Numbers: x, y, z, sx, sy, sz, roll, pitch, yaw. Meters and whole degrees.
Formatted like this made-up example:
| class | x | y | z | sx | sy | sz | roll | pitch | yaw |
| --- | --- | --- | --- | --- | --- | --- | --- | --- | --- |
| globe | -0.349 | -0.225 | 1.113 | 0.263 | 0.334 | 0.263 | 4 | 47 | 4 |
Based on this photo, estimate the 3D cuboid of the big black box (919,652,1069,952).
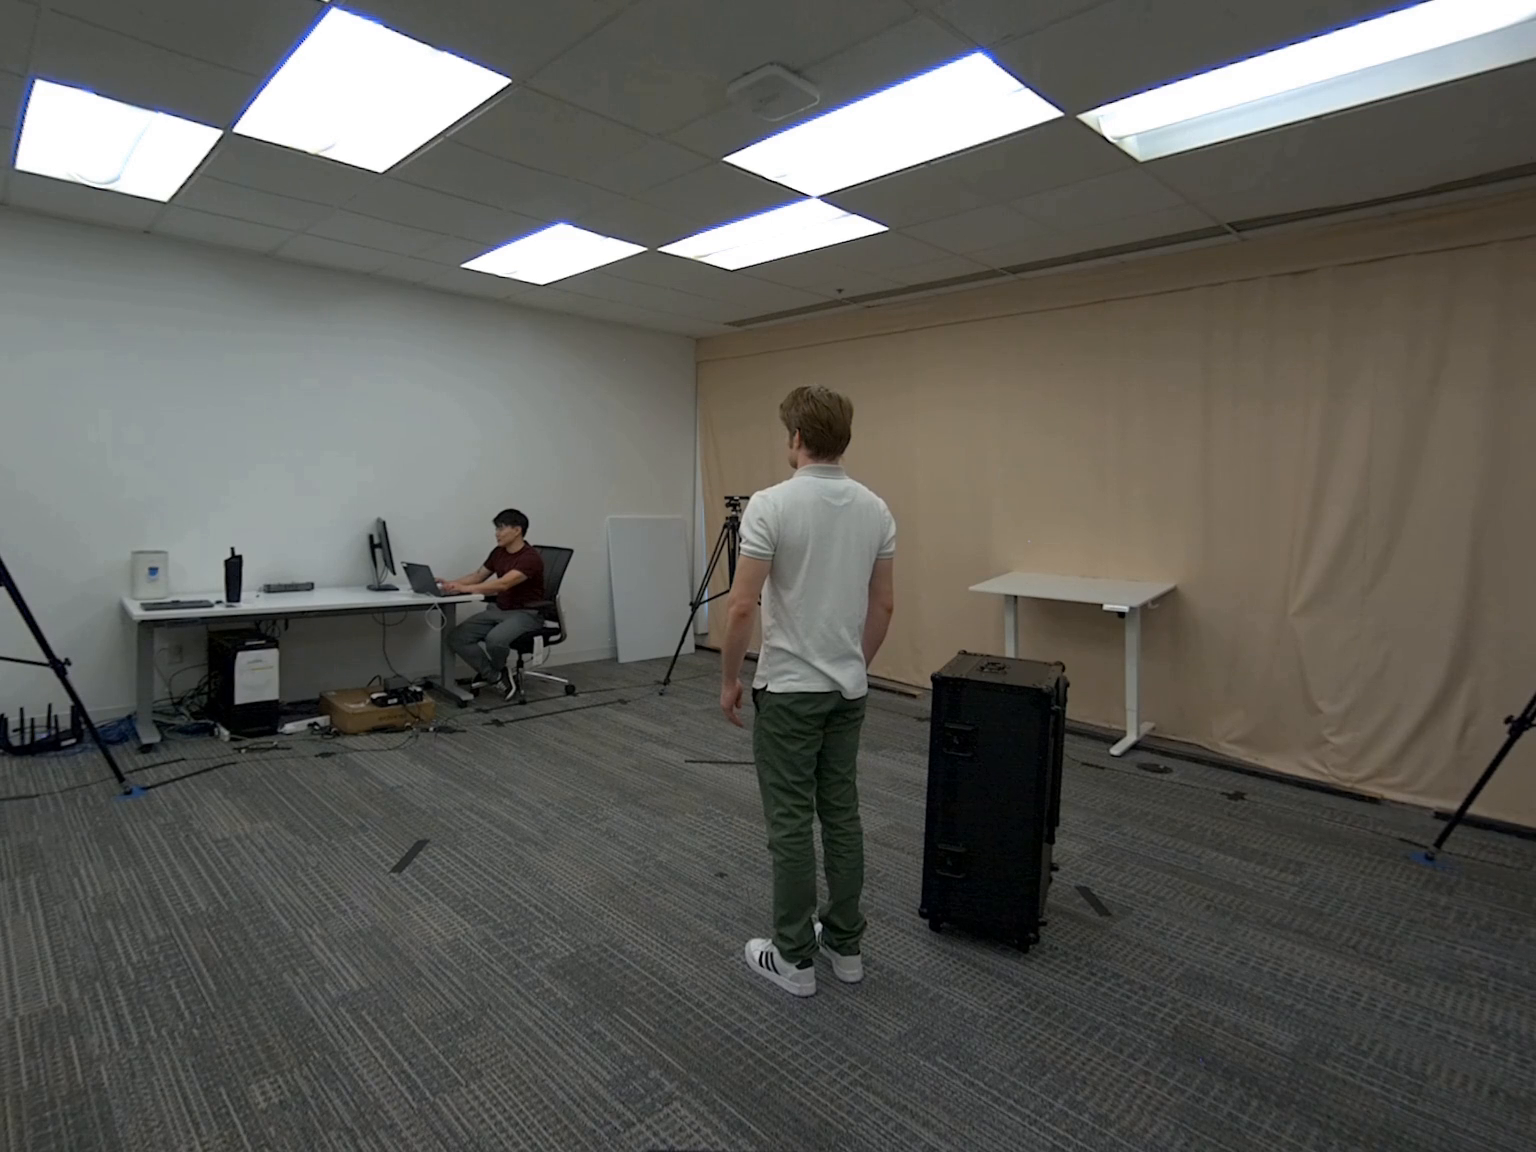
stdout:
| class | x | y | z | sx | sy | sz | roll | pitch | yaw |
| --- | --- | --- | --- | --- | --- | --- | --- | --- | --- |
| big black box | 0.753 | 0.730 | 2.803 | 0.392 | 0.866 | 0.515 | 3 | 4 | 23 |
